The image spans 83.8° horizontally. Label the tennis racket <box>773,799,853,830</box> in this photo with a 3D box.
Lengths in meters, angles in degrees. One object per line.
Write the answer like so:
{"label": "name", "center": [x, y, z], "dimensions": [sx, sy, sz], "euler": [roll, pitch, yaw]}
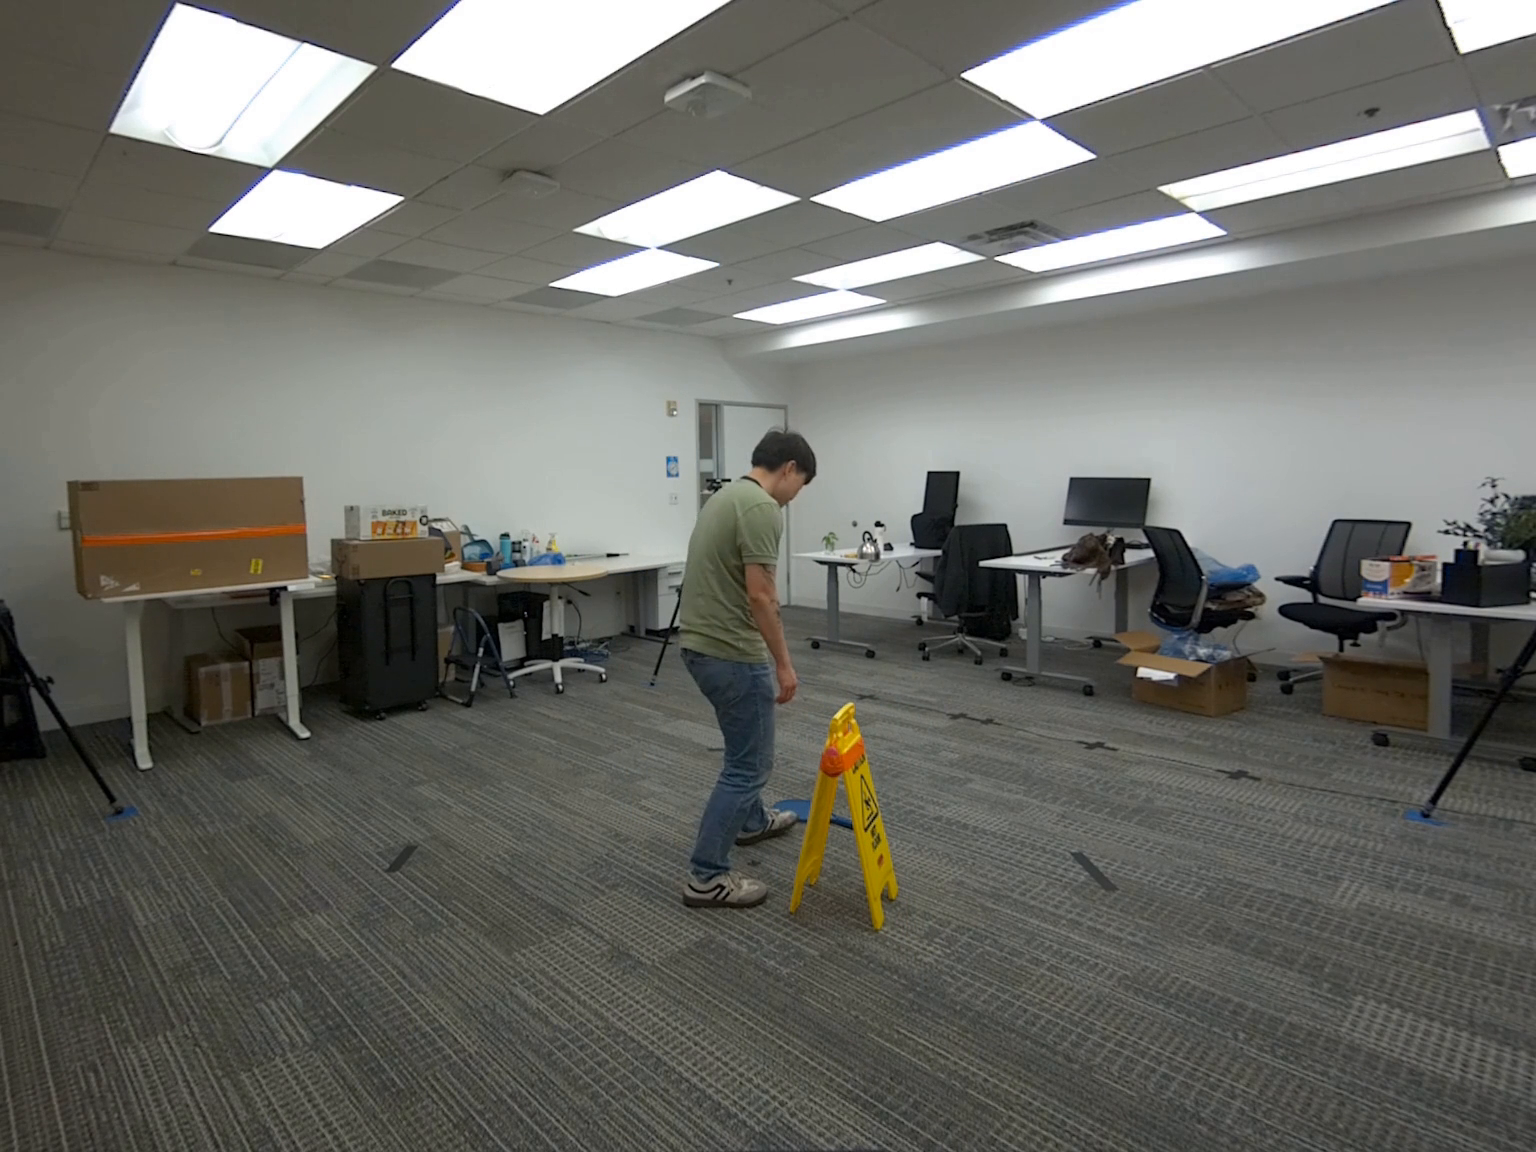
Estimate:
{"label": "tennis racket", "center": [0.199, 0.984, 3.521], "dimensions": [0.446, 0.031, 0.208], "euler": [3, 7, 44]}
